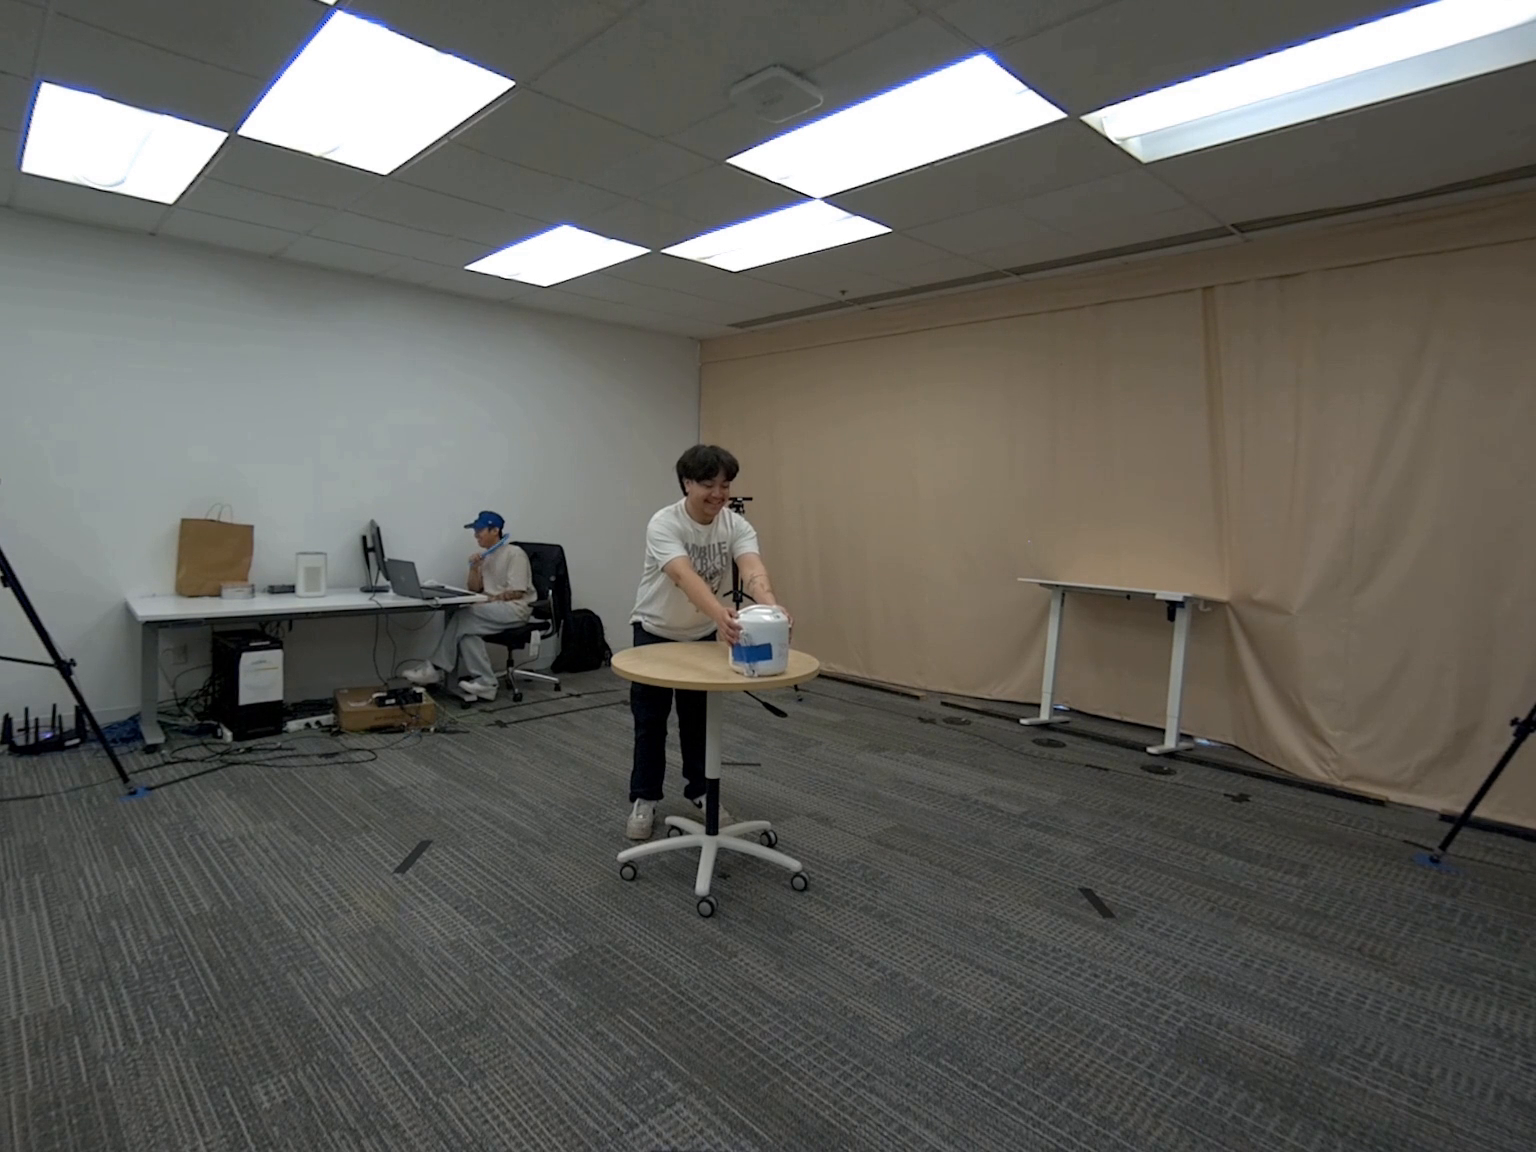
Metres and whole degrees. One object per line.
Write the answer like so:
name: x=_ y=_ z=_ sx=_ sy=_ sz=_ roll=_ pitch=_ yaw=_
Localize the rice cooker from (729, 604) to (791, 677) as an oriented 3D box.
rice cooker: x=-0.041 y=0.218 z=2.911 sx=0.216 sy=0.232 sz=0.222 roll=3 pitch=5 yaw=-26
